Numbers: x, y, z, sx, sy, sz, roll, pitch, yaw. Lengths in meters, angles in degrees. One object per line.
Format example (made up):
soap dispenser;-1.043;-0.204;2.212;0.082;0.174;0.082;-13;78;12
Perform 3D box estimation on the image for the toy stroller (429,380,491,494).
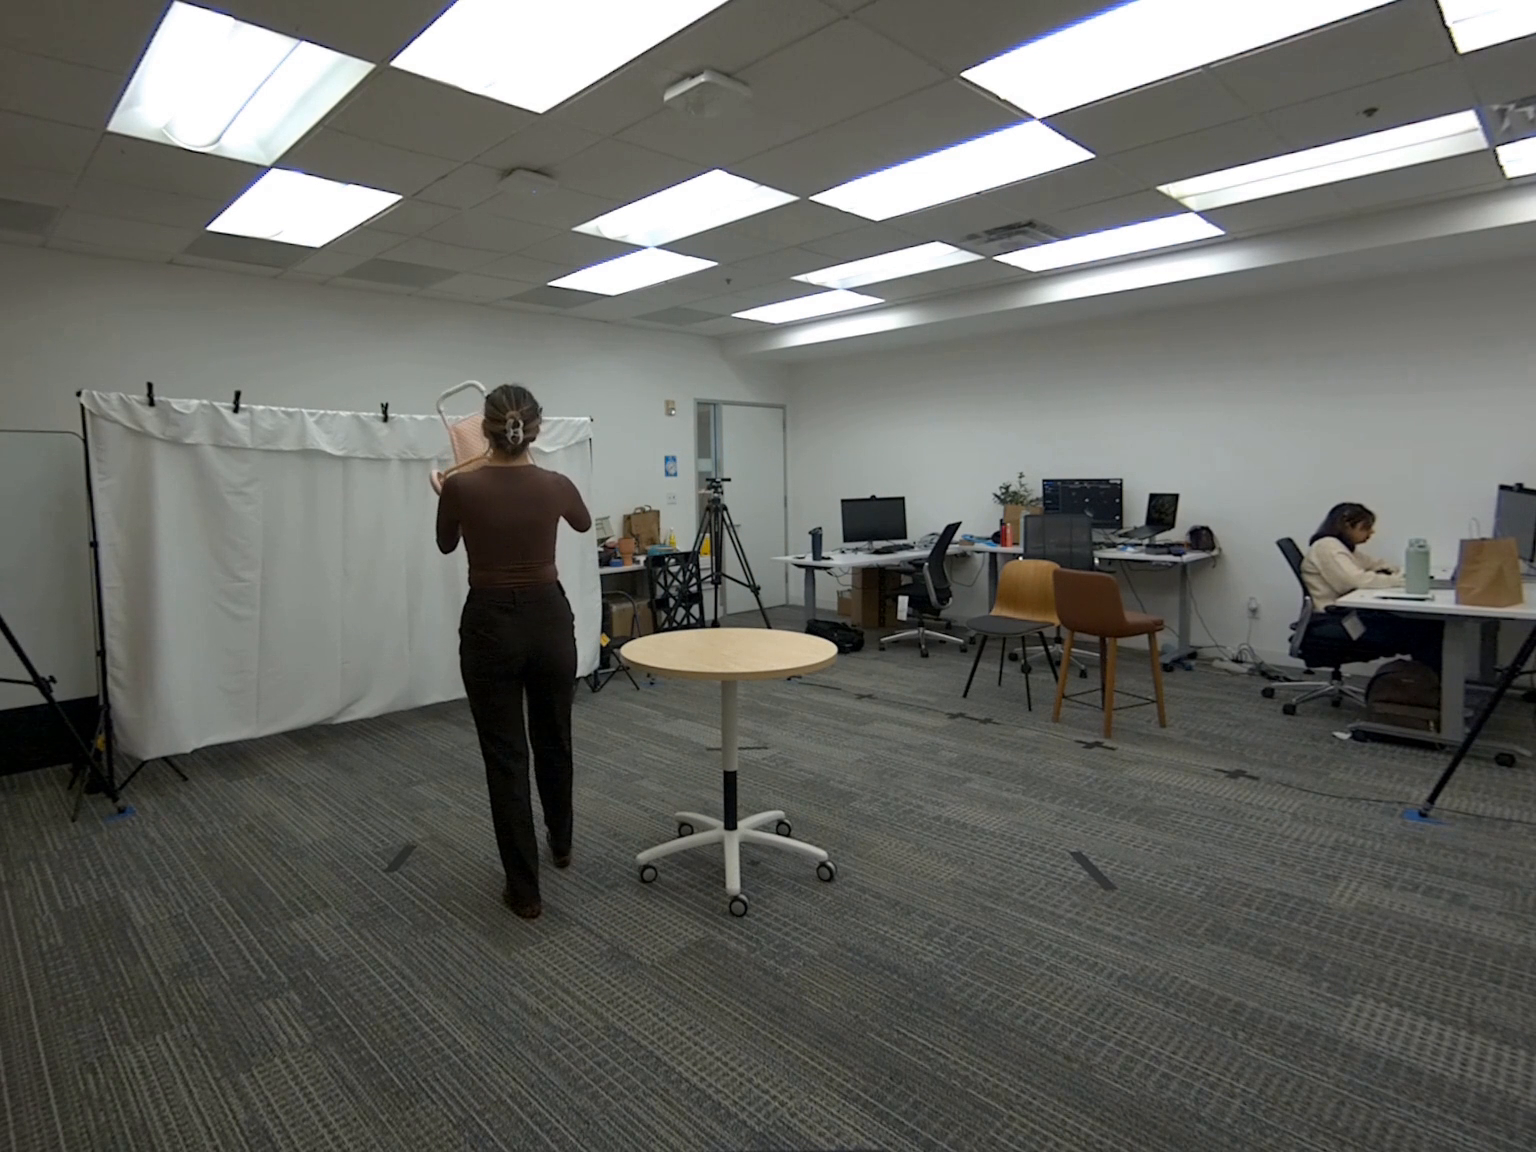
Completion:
toy stroller;-1.083;-0.446;3.280;0.283;0.553;0.328;-27;-38;9
